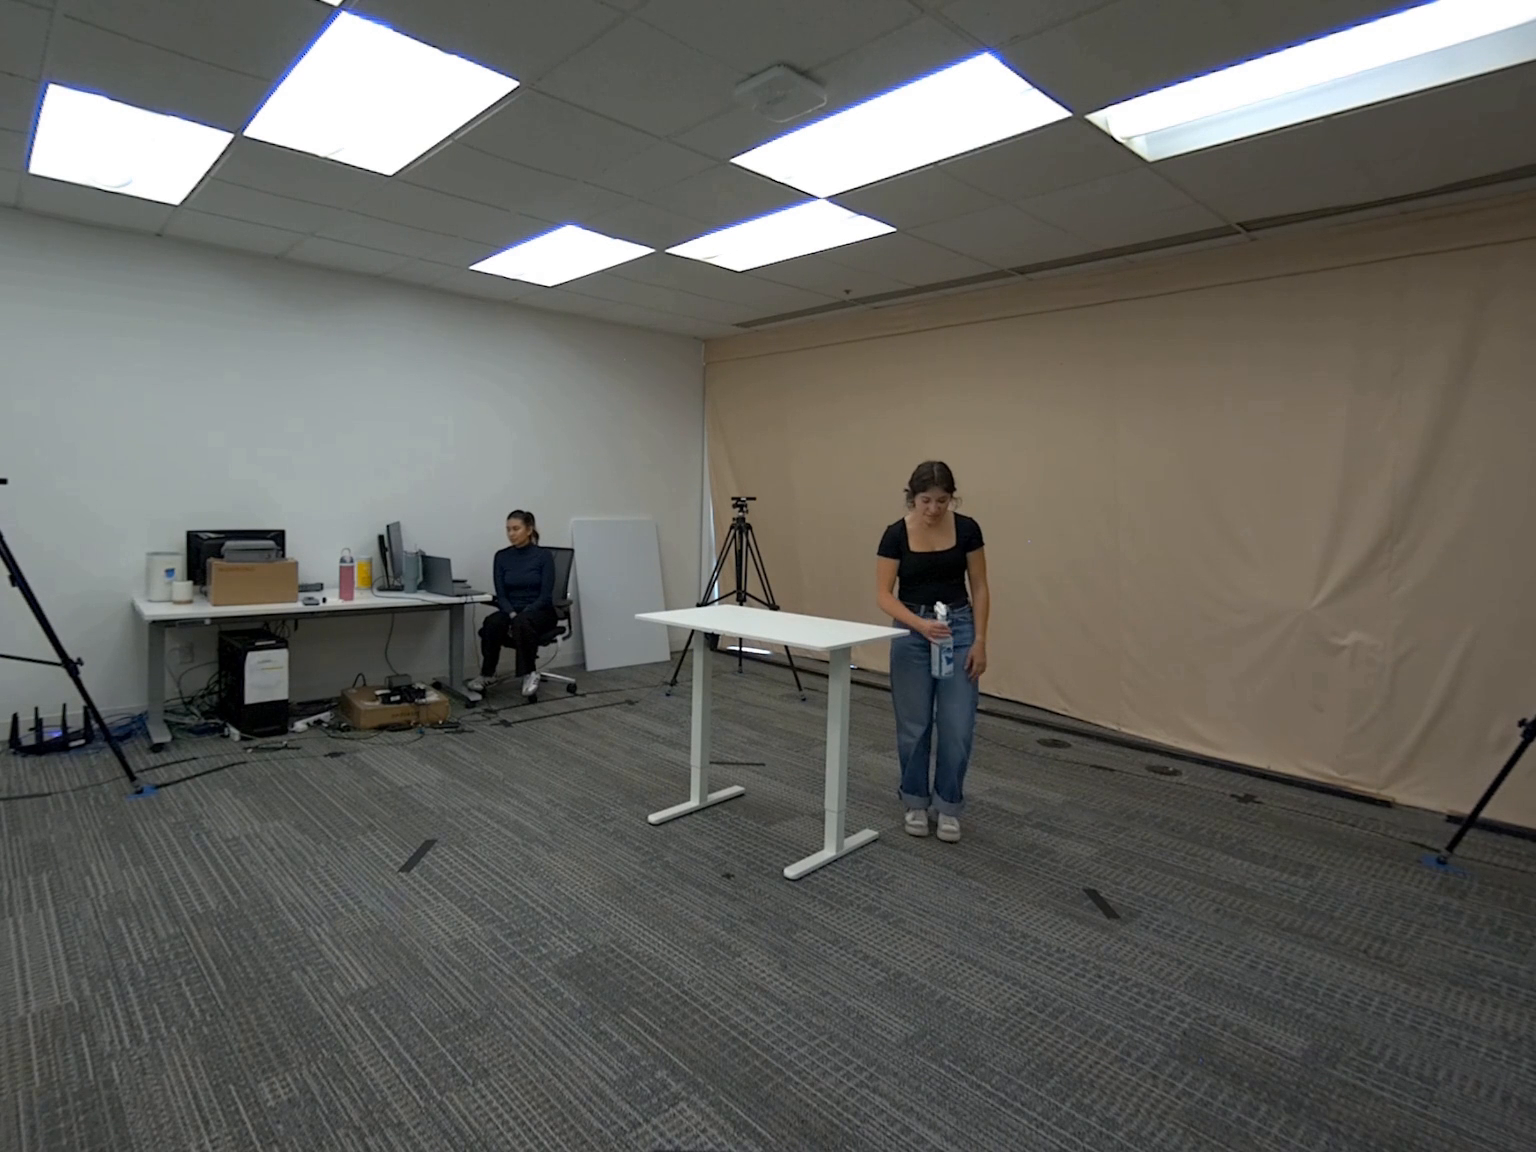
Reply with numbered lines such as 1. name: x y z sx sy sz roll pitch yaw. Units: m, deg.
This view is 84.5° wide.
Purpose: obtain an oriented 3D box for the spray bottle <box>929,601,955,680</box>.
1. spray bottle: 0.685 0.261 3.354 0.088 0.295 0.089 2 9 21
